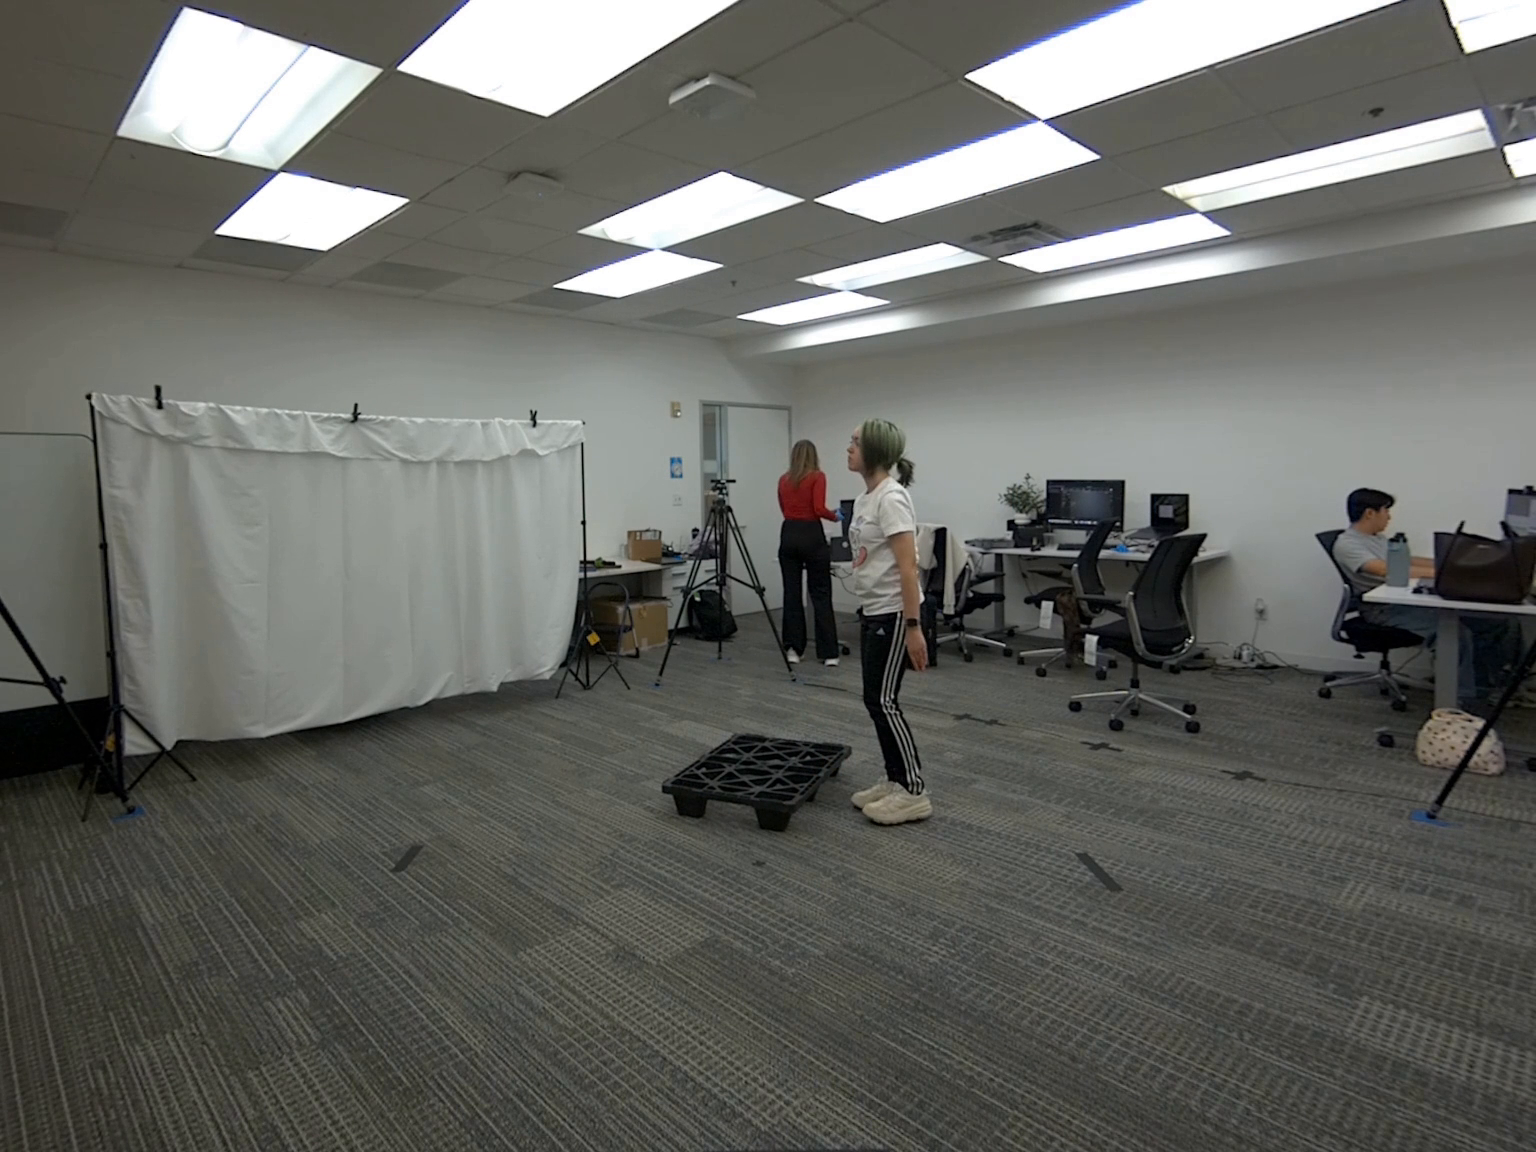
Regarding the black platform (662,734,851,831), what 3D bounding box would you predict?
[{"bbox_3d":[-0.017,0.898,3.806,0.618,0.142,0.792,2,7,23],"label":"black platform"}]
